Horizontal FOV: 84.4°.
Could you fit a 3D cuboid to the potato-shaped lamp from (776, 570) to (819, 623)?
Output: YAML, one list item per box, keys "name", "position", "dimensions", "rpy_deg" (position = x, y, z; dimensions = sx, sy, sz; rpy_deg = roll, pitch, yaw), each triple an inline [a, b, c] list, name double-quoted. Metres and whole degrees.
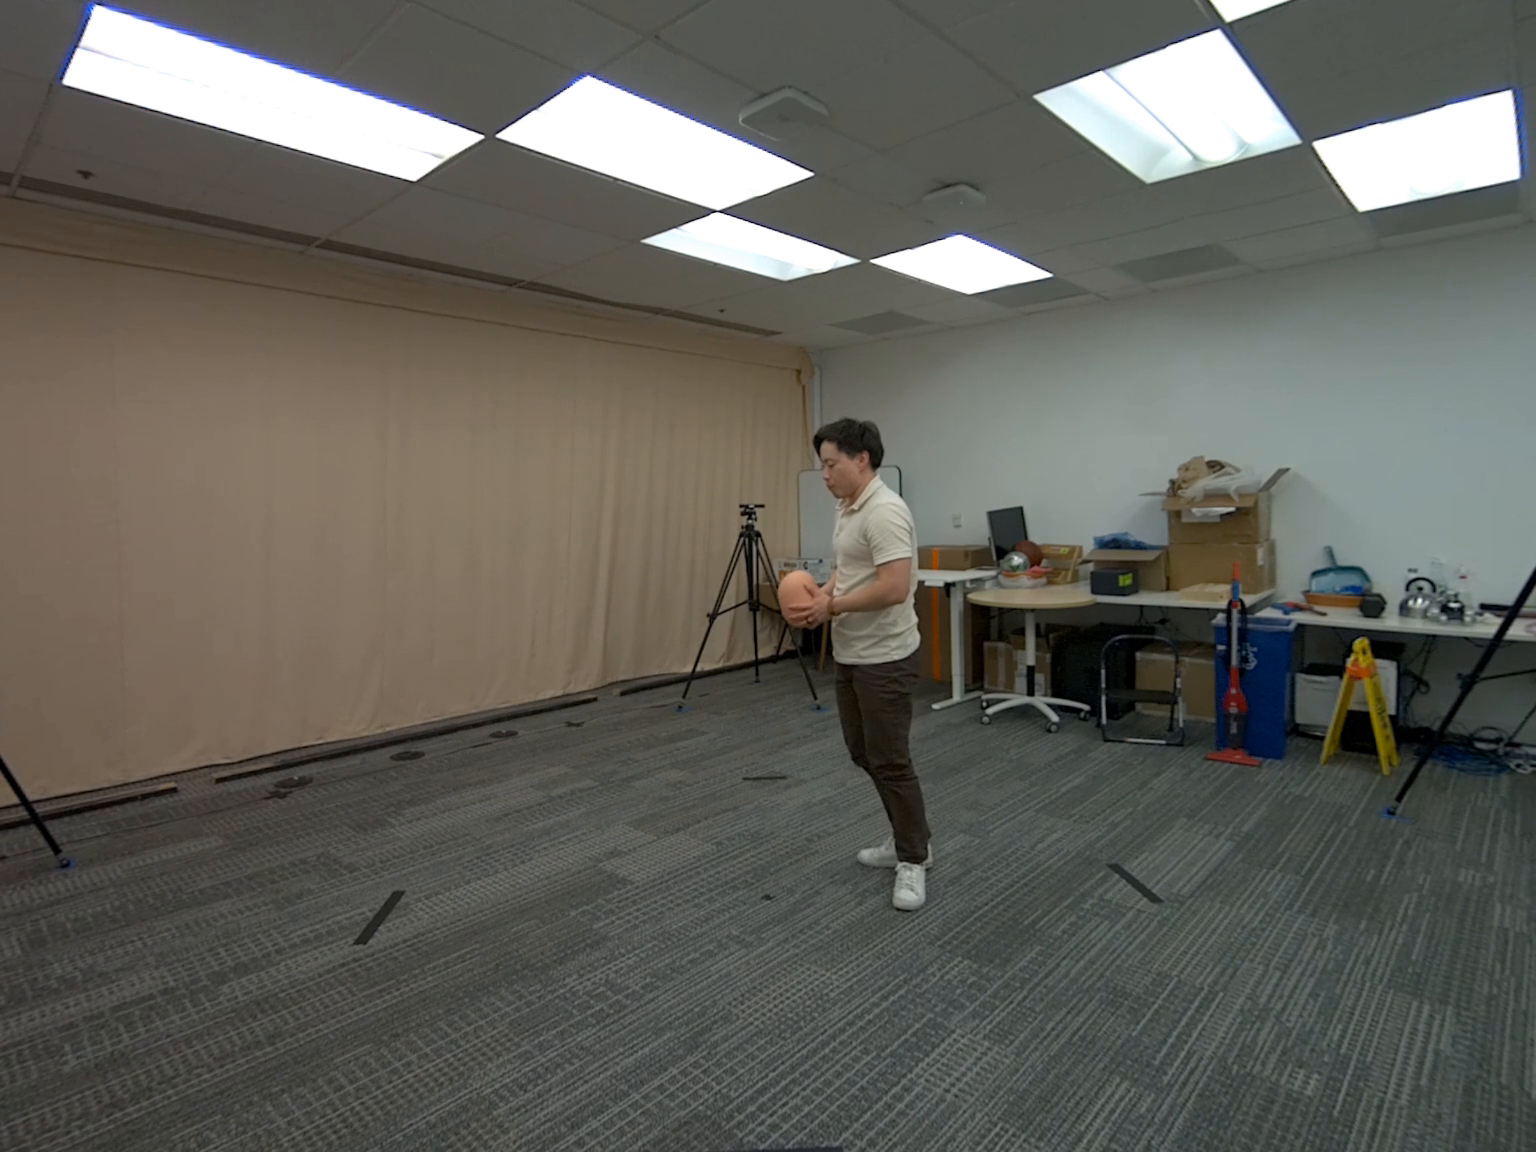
- name: "potato-shaped lamp"
  position: [0.123, 0.080, 2.980]
  dimensions: [0.171, 0.197, 0.166]
  rpy_deg: [-18, 8, -4]
